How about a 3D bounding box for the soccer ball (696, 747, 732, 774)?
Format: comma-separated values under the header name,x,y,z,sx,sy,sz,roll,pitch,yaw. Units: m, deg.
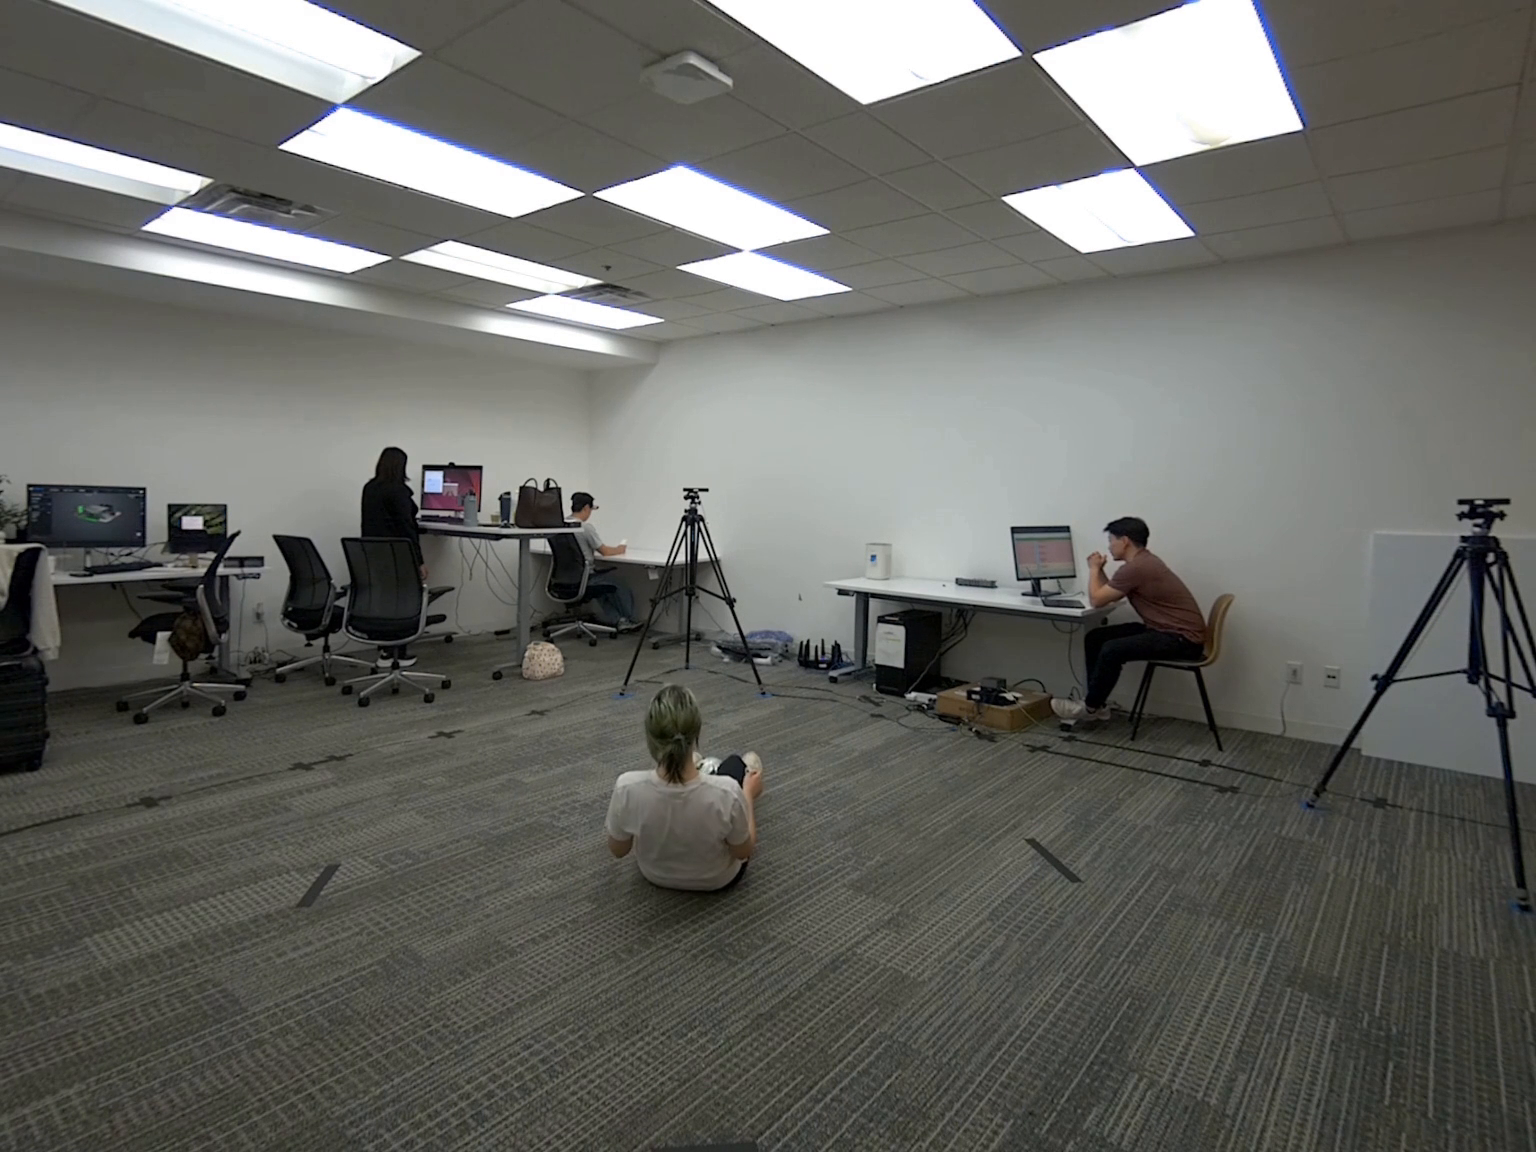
name,x,y,z,sx,sy,sz,roll,pitch,yaw
soccer ball,-0.254,0.848,3.577,0.187,0.187,0.188,1,4,-2
